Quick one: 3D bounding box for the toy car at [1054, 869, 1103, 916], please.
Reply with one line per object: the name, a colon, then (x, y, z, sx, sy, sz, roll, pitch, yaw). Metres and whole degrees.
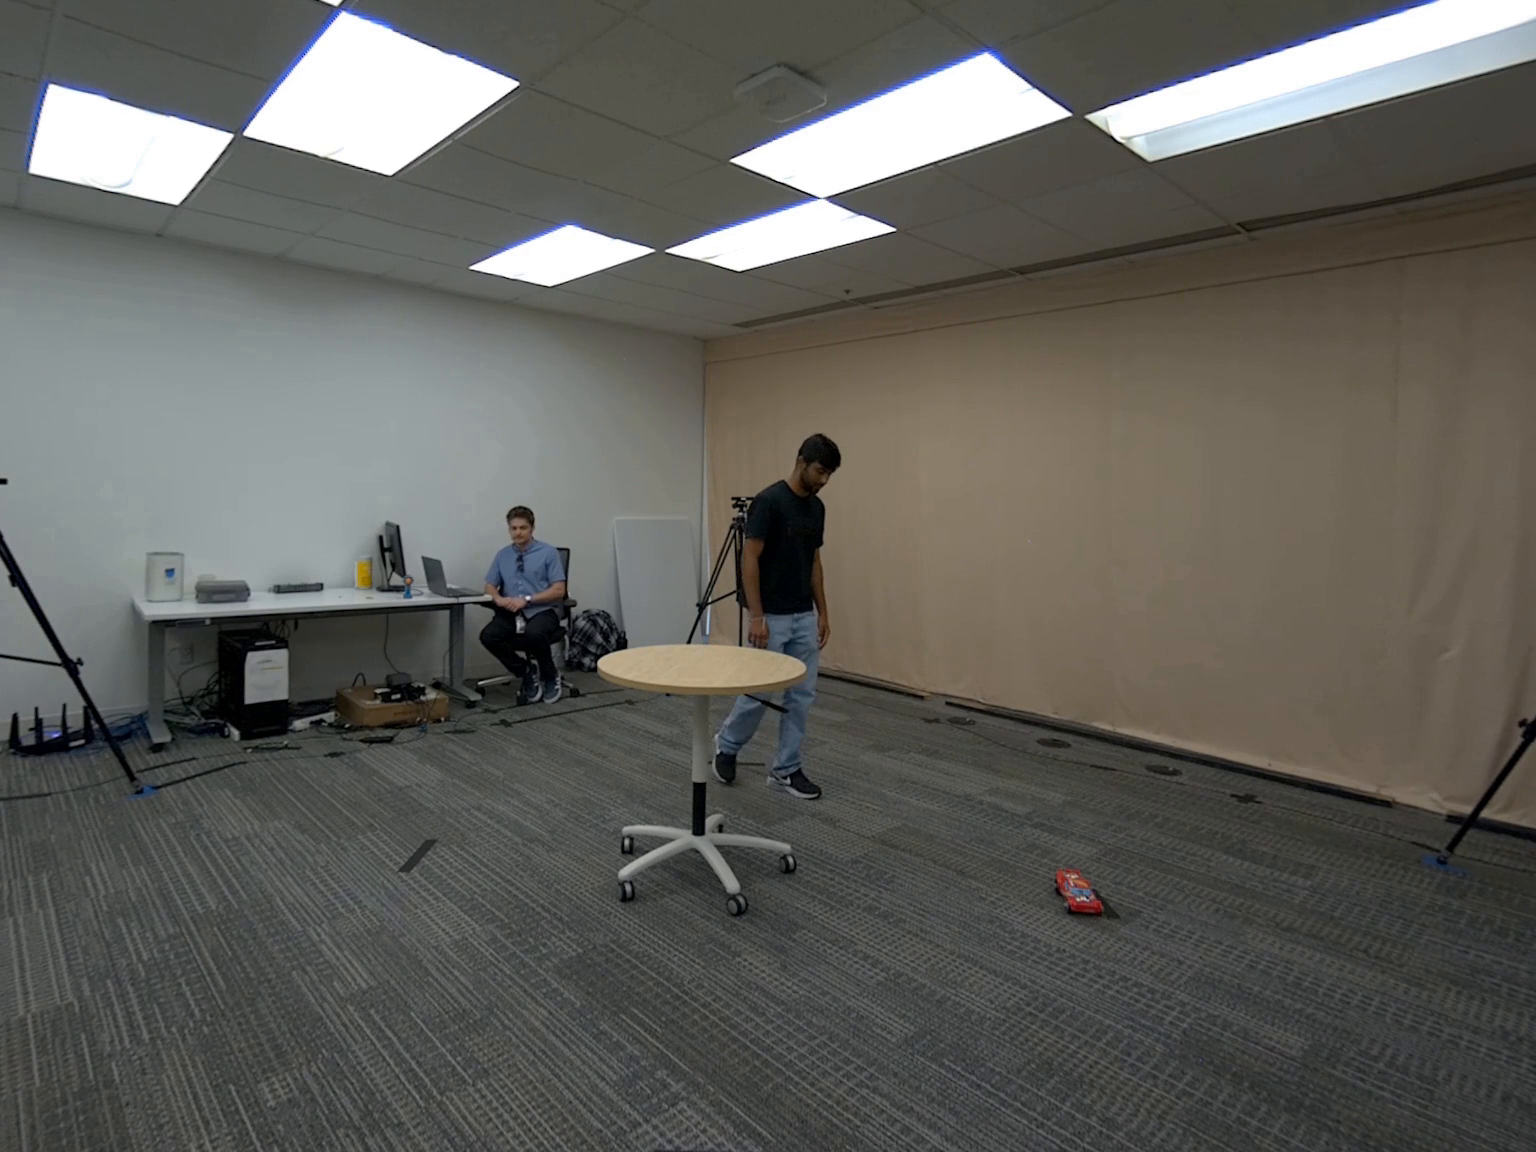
toy car: (1.086, 1.120, 2.982, 0.131, 0.082, 0.255, 1, 15, 7)
